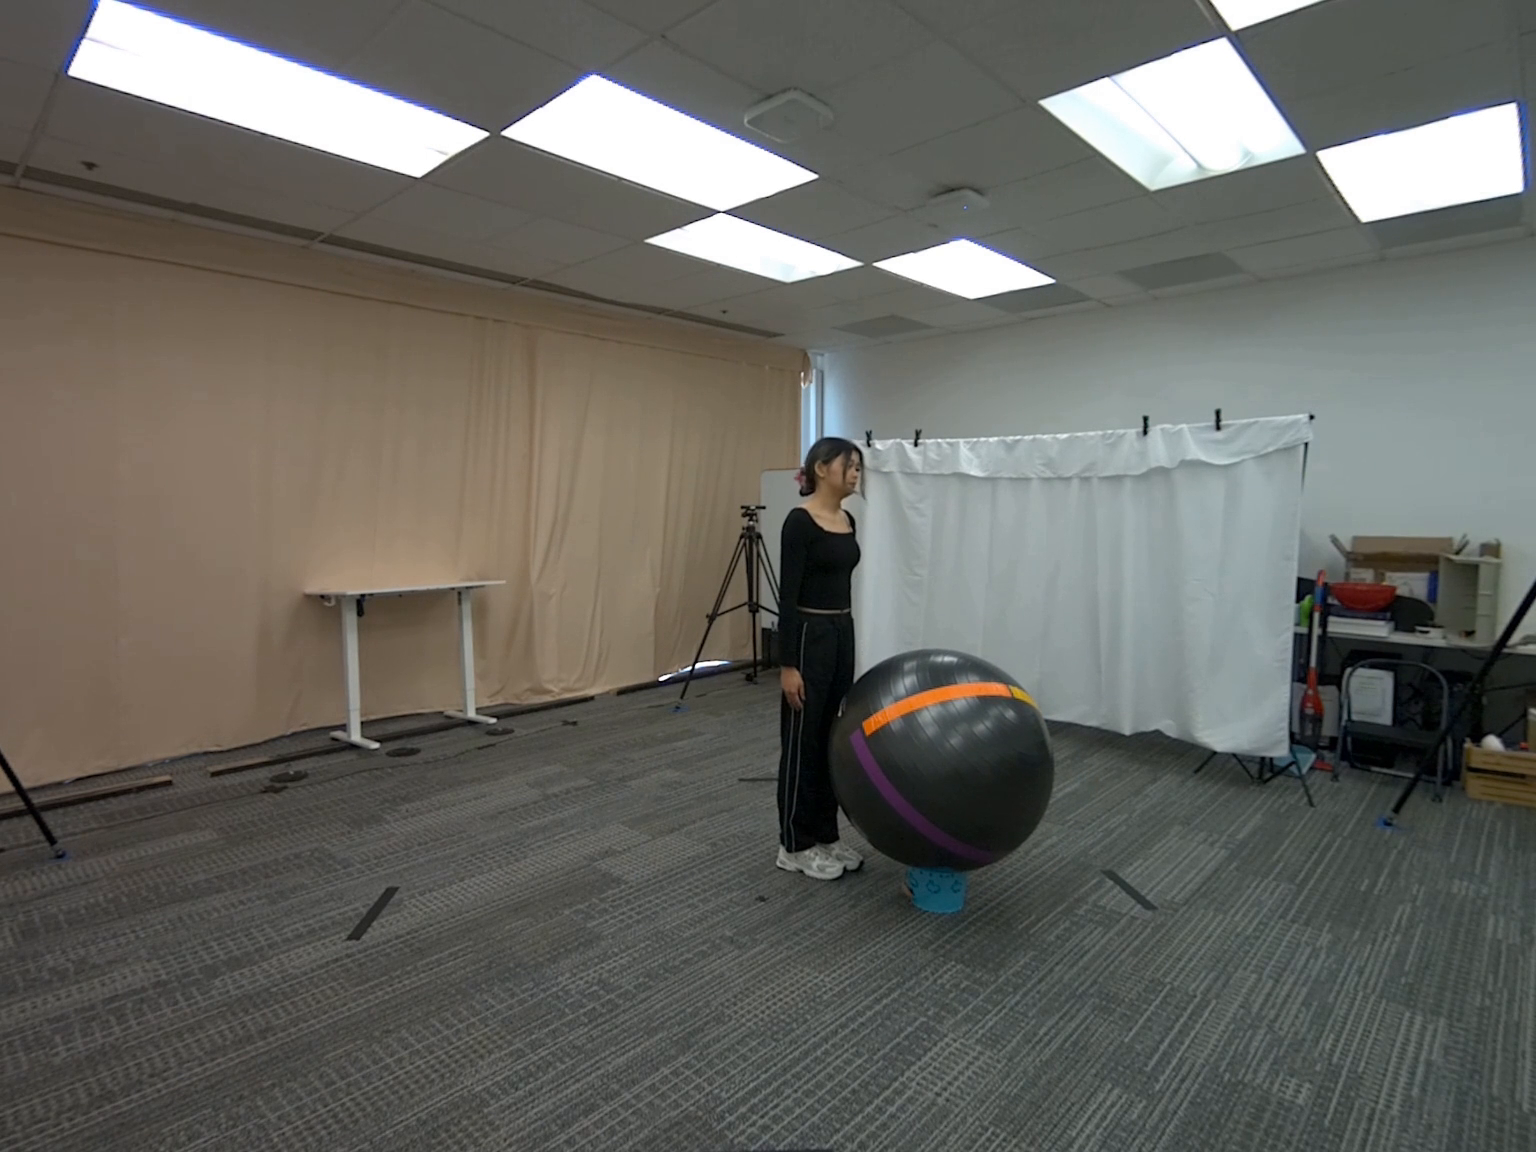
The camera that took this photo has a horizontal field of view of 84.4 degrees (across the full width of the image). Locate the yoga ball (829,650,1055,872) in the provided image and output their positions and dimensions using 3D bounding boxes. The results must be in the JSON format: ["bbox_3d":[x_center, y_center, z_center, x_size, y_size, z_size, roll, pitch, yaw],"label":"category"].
[{"bbox_3d":[0.603,0.637,2.935,0.757,0.756,0.760,0,4,-2],"label":"yoga ball"}]
